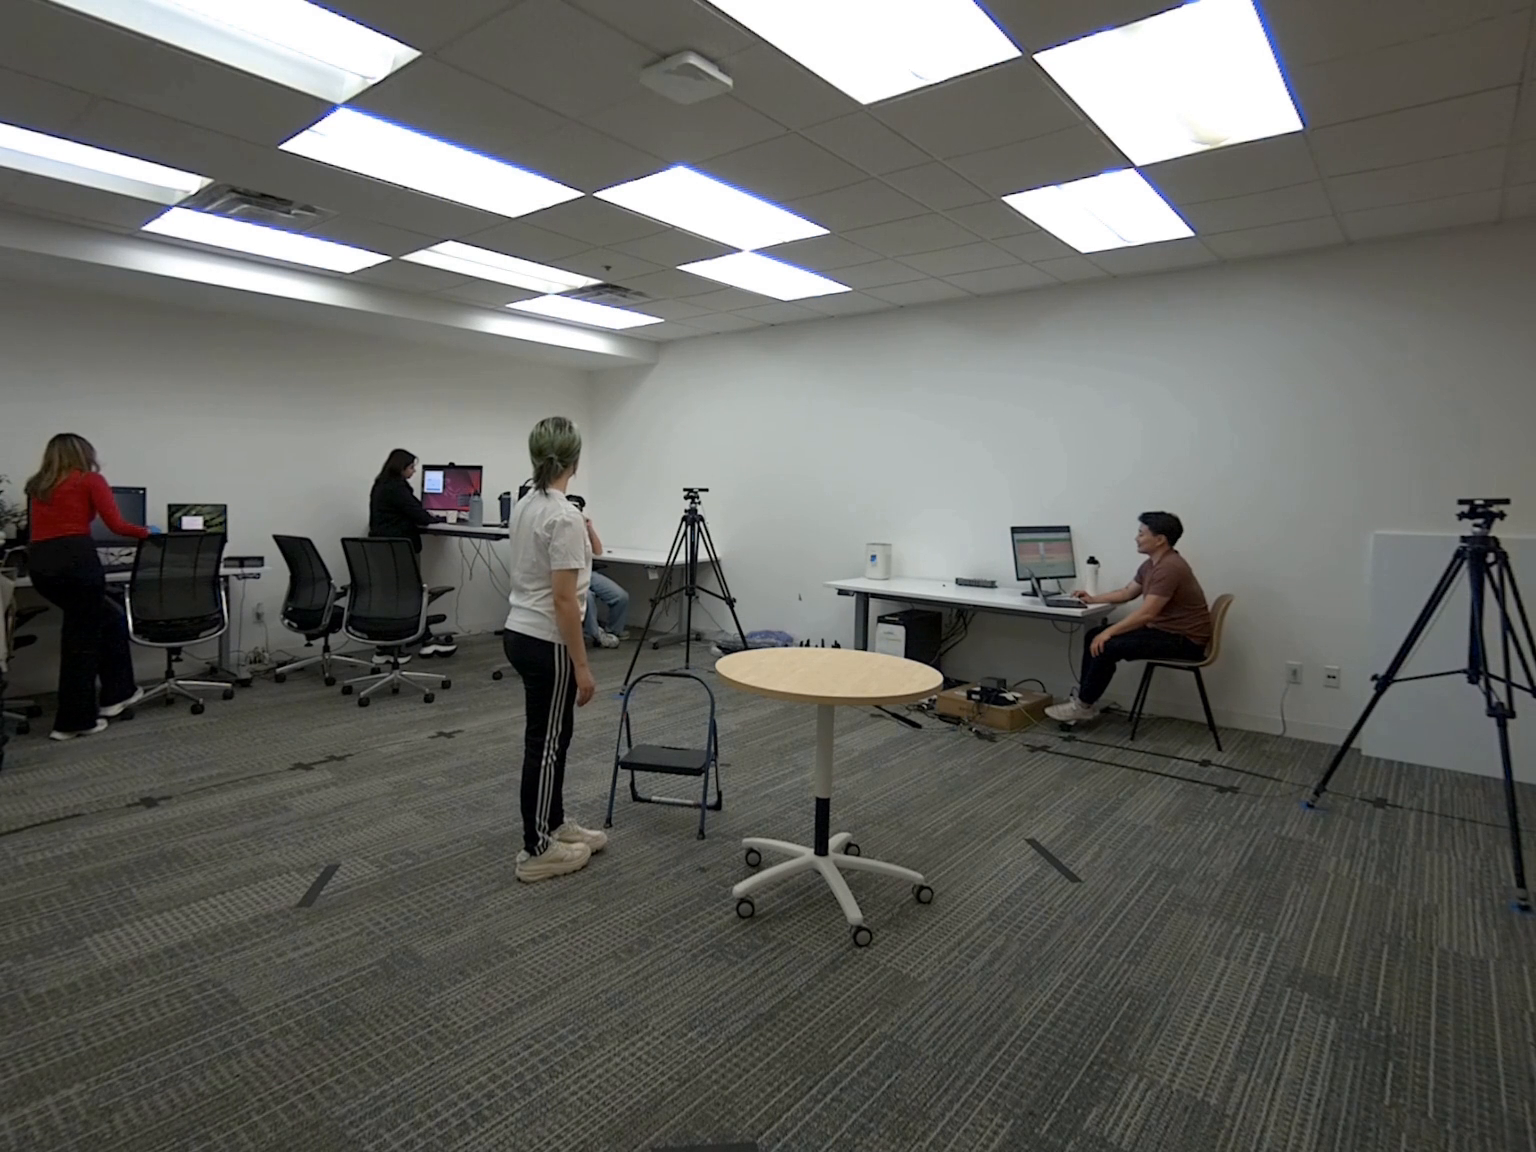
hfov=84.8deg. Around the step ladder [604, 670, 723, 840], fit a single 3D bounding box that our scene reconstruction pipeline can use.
[{"bbox_3d":[-0.436,0.718,3.577,0.437,0.604,0.345,2,4,13],"label":"step ladder"}]
